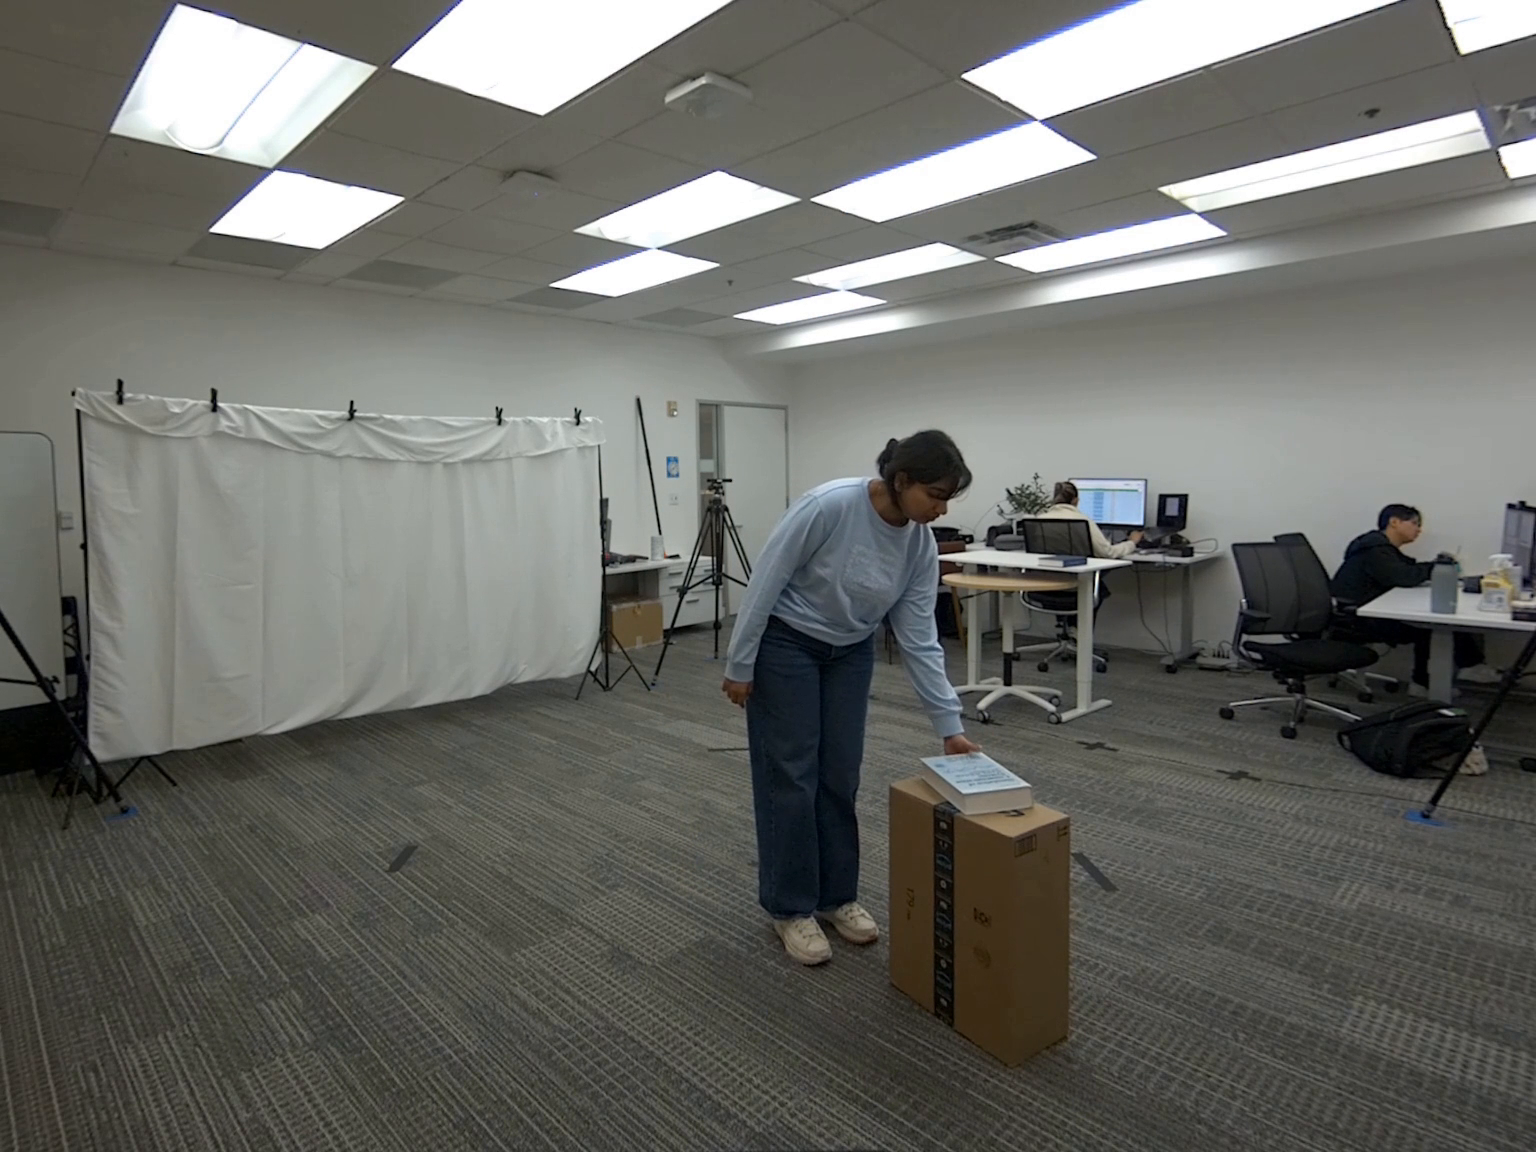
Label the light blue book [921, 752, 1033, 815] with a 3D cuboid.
[{"bbox_3d":[0.537,0.541,2.243,0.189,0.059,0.265,-4,7,-13],"label":"light blue book"}]
